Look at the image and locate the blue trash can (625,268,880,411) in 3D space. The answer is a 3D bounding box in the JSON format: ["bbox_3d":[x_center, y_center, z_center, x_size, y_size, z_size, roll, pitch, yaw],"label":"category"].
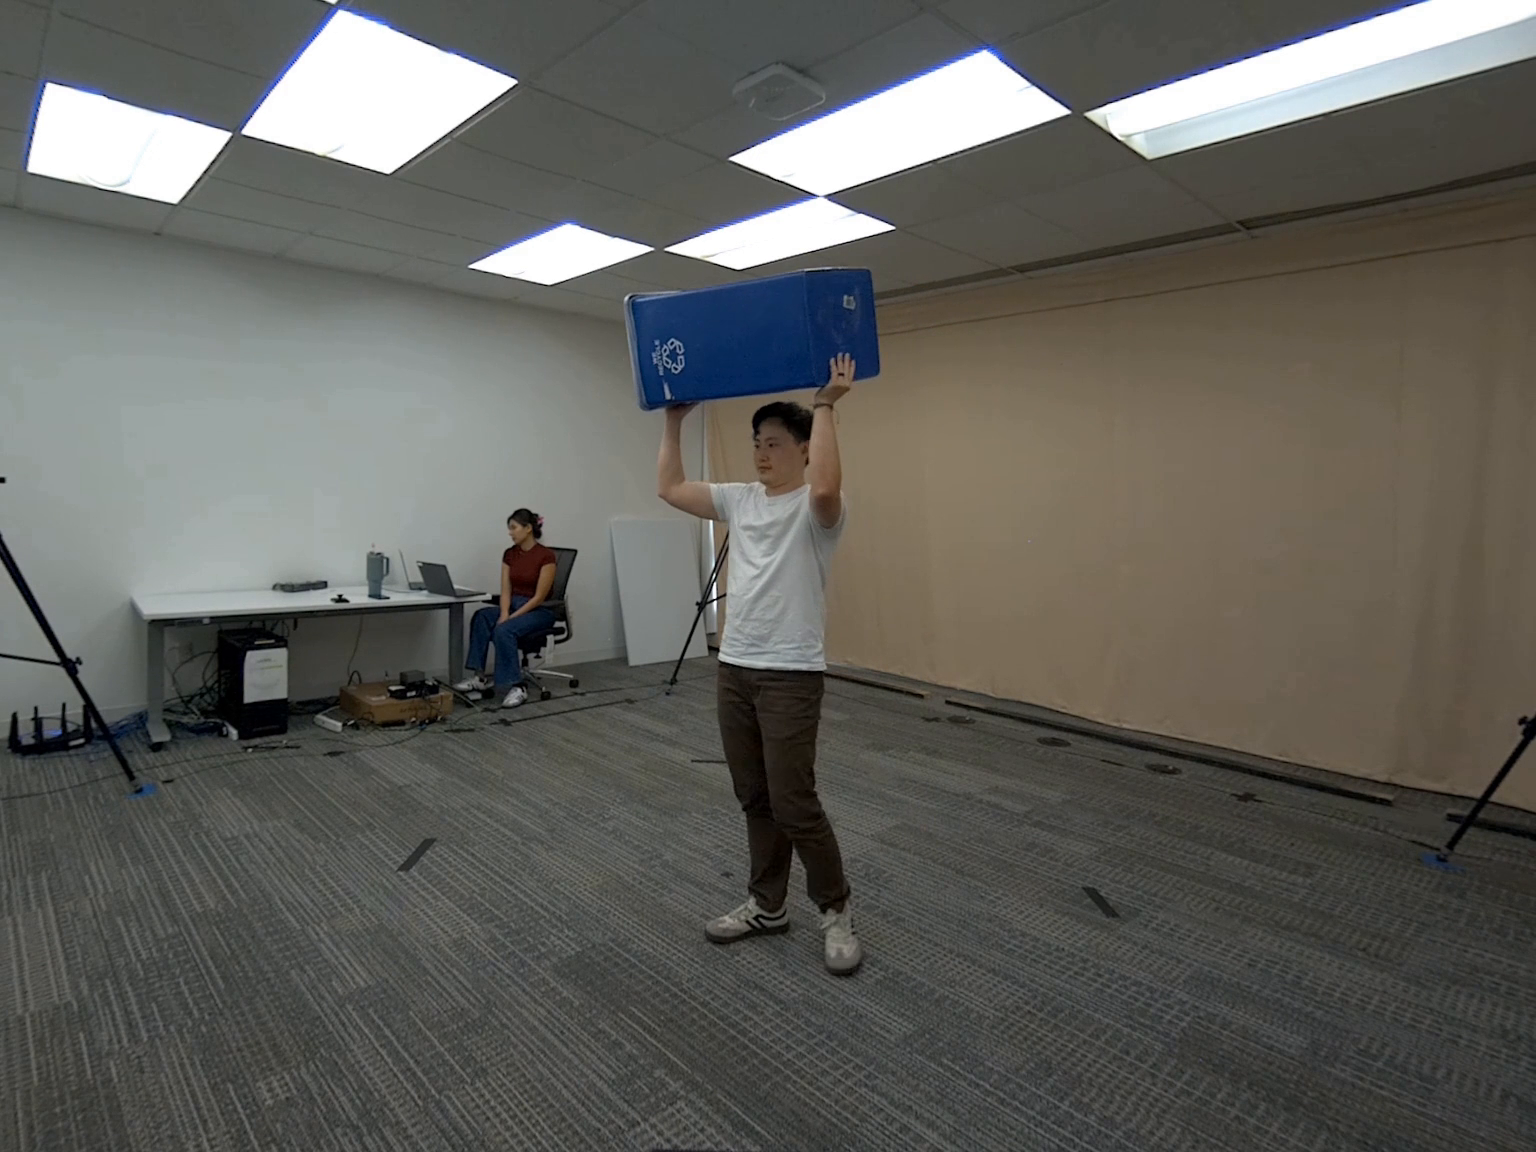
[{"bbox_3d":[-0.053,-0.719,2.539,0.732,0.374,0.368,7,20,44],"label":"blue trash can"}]
